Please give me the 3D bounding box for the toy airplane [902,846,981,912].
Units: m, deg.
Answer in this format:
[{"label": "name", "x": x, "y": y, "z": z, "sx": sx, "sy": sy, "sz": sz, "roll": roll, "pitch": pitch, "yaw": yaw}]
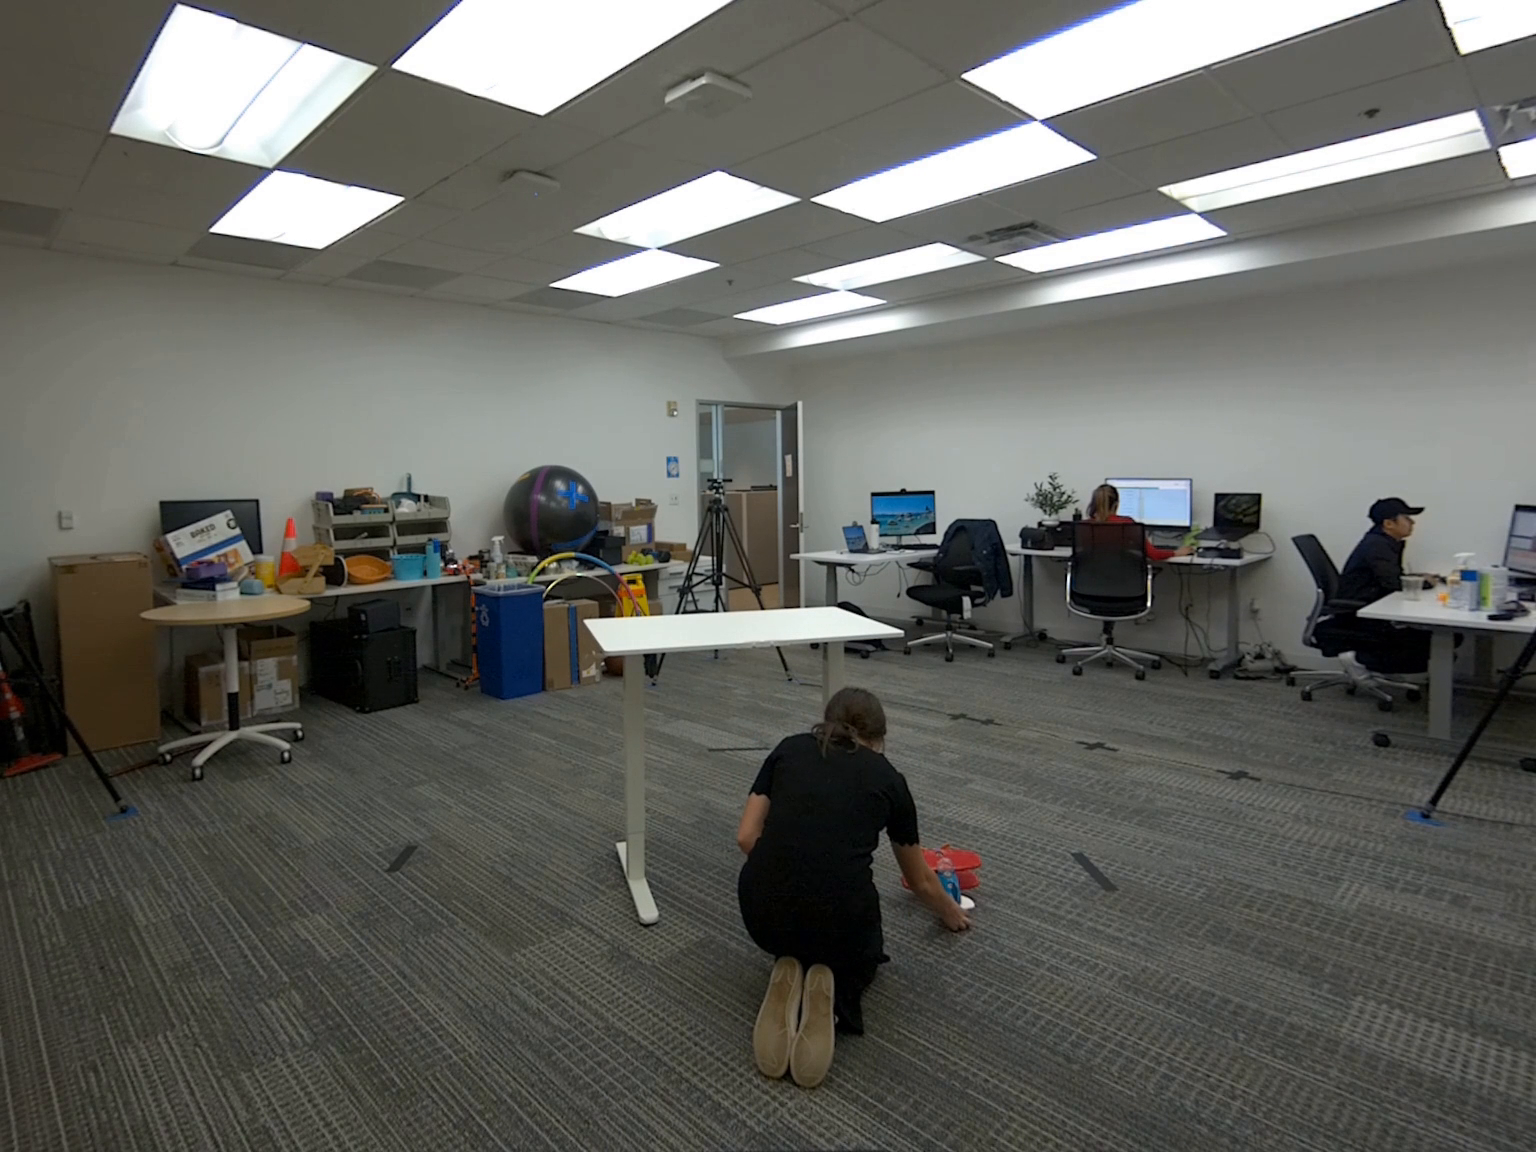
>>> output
[{"label": "toy airplane", "x": 0.595, "y": 0.998, "z": 2.780, "sx": 0.245, "sy": 0.156, "sz": 0.266, "roll": -4, "pitch": 5, "yaw": -32}]
